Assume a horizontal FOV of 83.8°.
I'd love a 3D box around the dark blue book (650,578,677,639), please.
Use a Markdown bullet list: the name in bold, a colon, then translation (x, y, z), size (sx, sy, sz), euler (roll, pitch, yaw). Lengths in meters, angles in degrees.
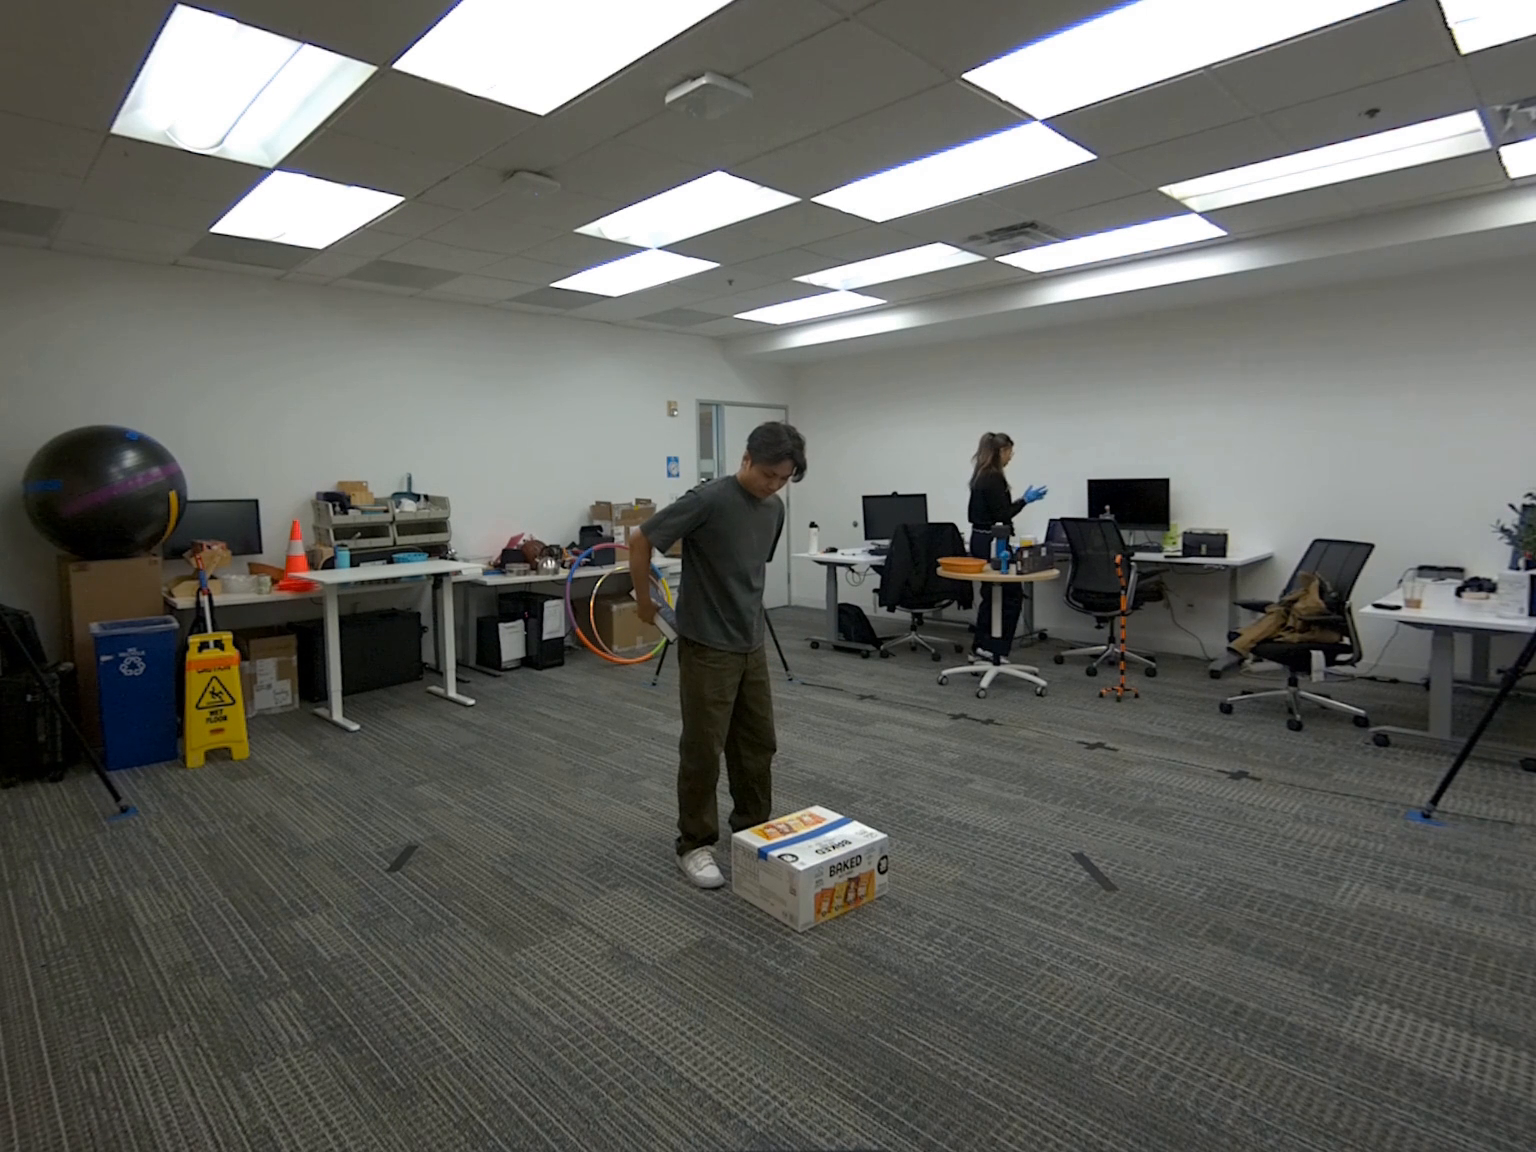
- **dark blue book**: translation (-0.403, 0.132, 3.209), size (0.045, 0.246, 0.162), euler (-42, -3, 11)
